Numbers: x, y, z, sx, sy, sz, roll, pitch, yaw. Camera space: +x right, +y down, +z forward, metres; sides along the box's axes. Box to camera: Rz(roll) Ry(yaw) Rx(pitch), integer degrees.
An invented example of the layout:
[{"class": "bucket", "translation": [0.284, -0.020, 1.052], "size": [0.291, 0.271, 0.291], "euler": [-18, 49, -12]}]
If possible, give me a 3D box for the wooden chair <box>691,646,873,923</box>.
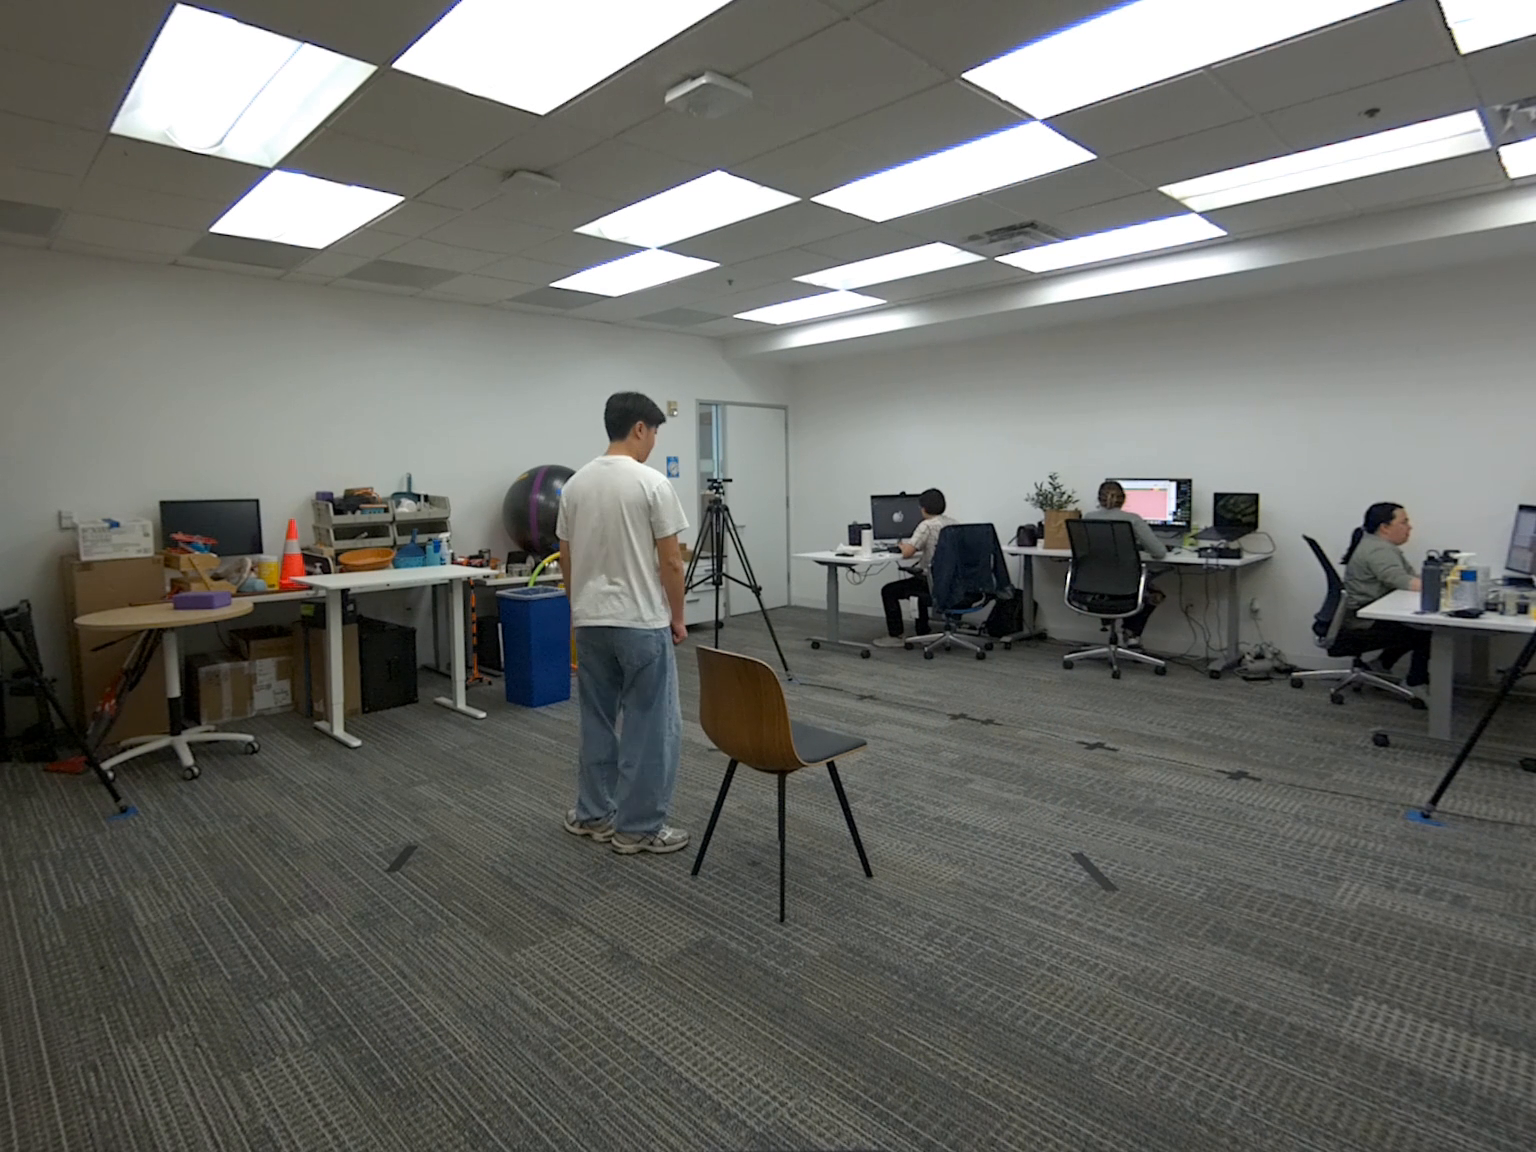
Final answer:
[{"class": "wooden chair", "translation": [0.051, 0.634, 2.969], "size": [0.511, 0.872, 0.493], "euler": [-10, 9, -42]}]
